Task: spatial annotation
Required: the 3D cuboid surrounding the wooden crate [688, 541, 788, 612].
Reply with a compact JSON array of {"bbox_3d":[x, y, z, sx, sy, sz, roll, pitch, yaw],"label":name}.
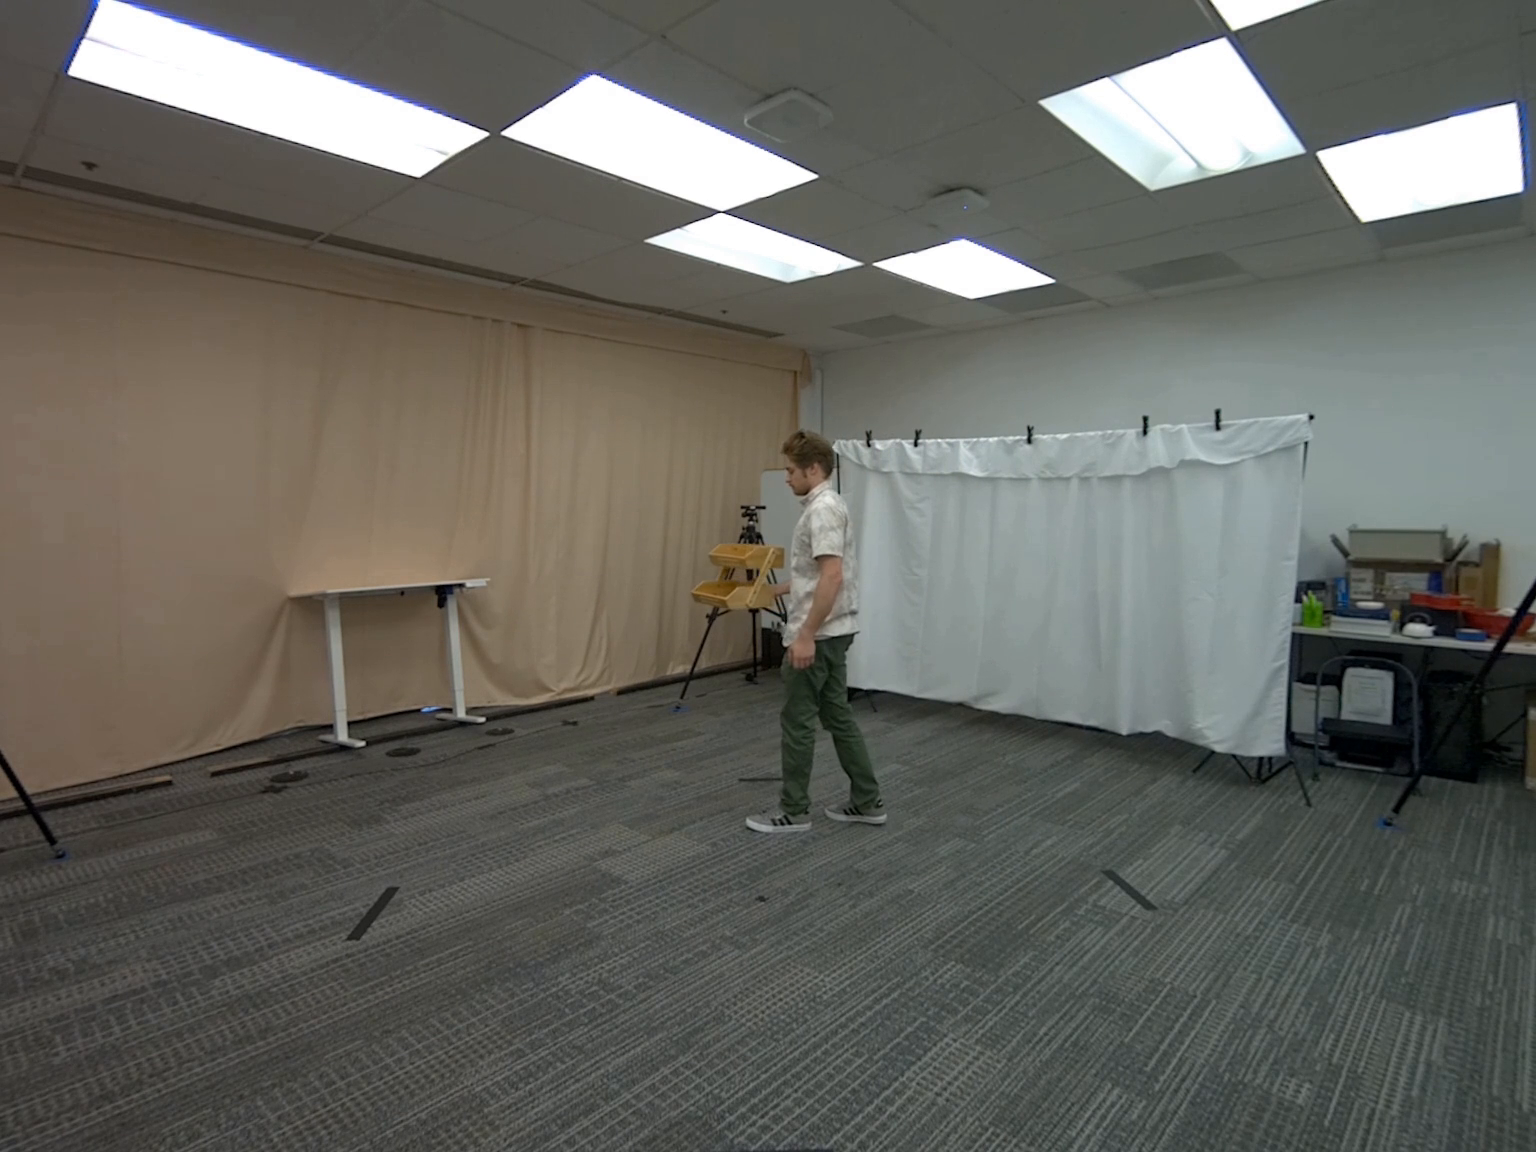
[{"bbox_3d":[-0.139,-0.008,3.773,0.293,0.272,0.335,-1,6,-34],"label":"wooden crate"}]
